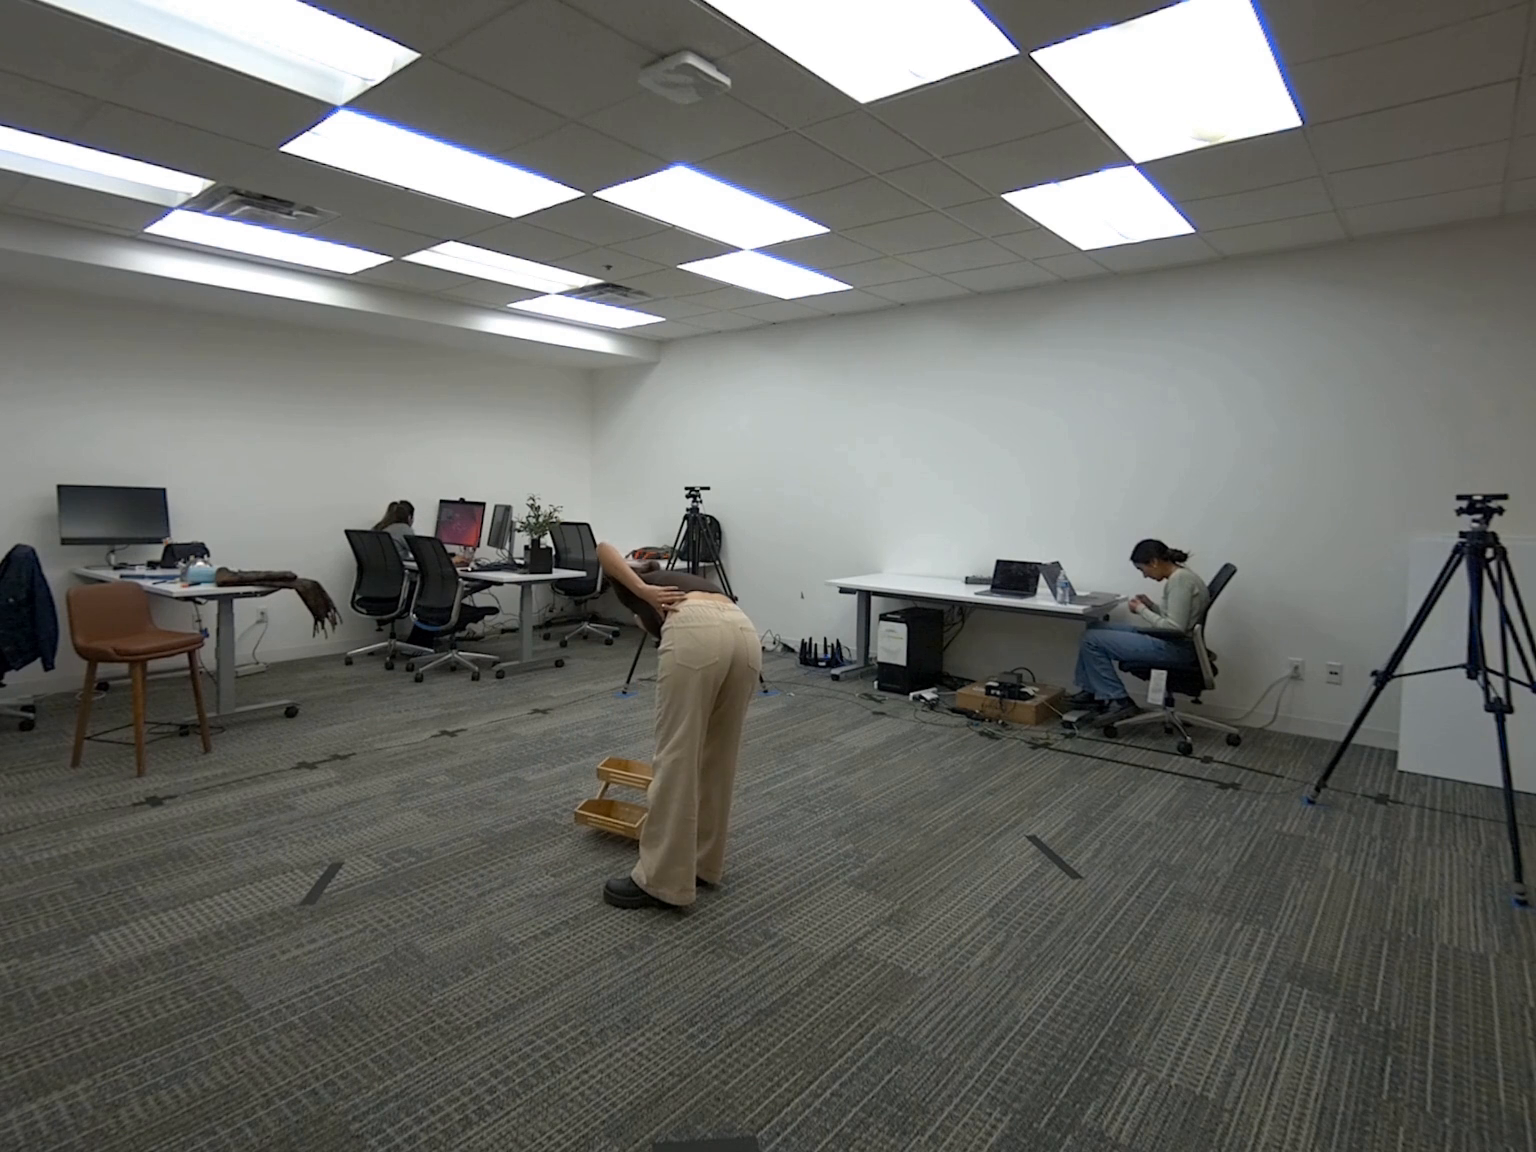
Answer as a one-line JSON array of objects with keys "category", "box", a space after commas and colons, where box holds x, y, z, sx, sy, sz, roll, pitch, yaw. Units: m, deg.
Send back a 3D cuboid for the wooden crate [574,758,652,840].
[{"category": "wooden crate", "box": [-0.568, 0.878, 3.404, 0.334, 0.276, 0.291, 4, -13, 28]}]
